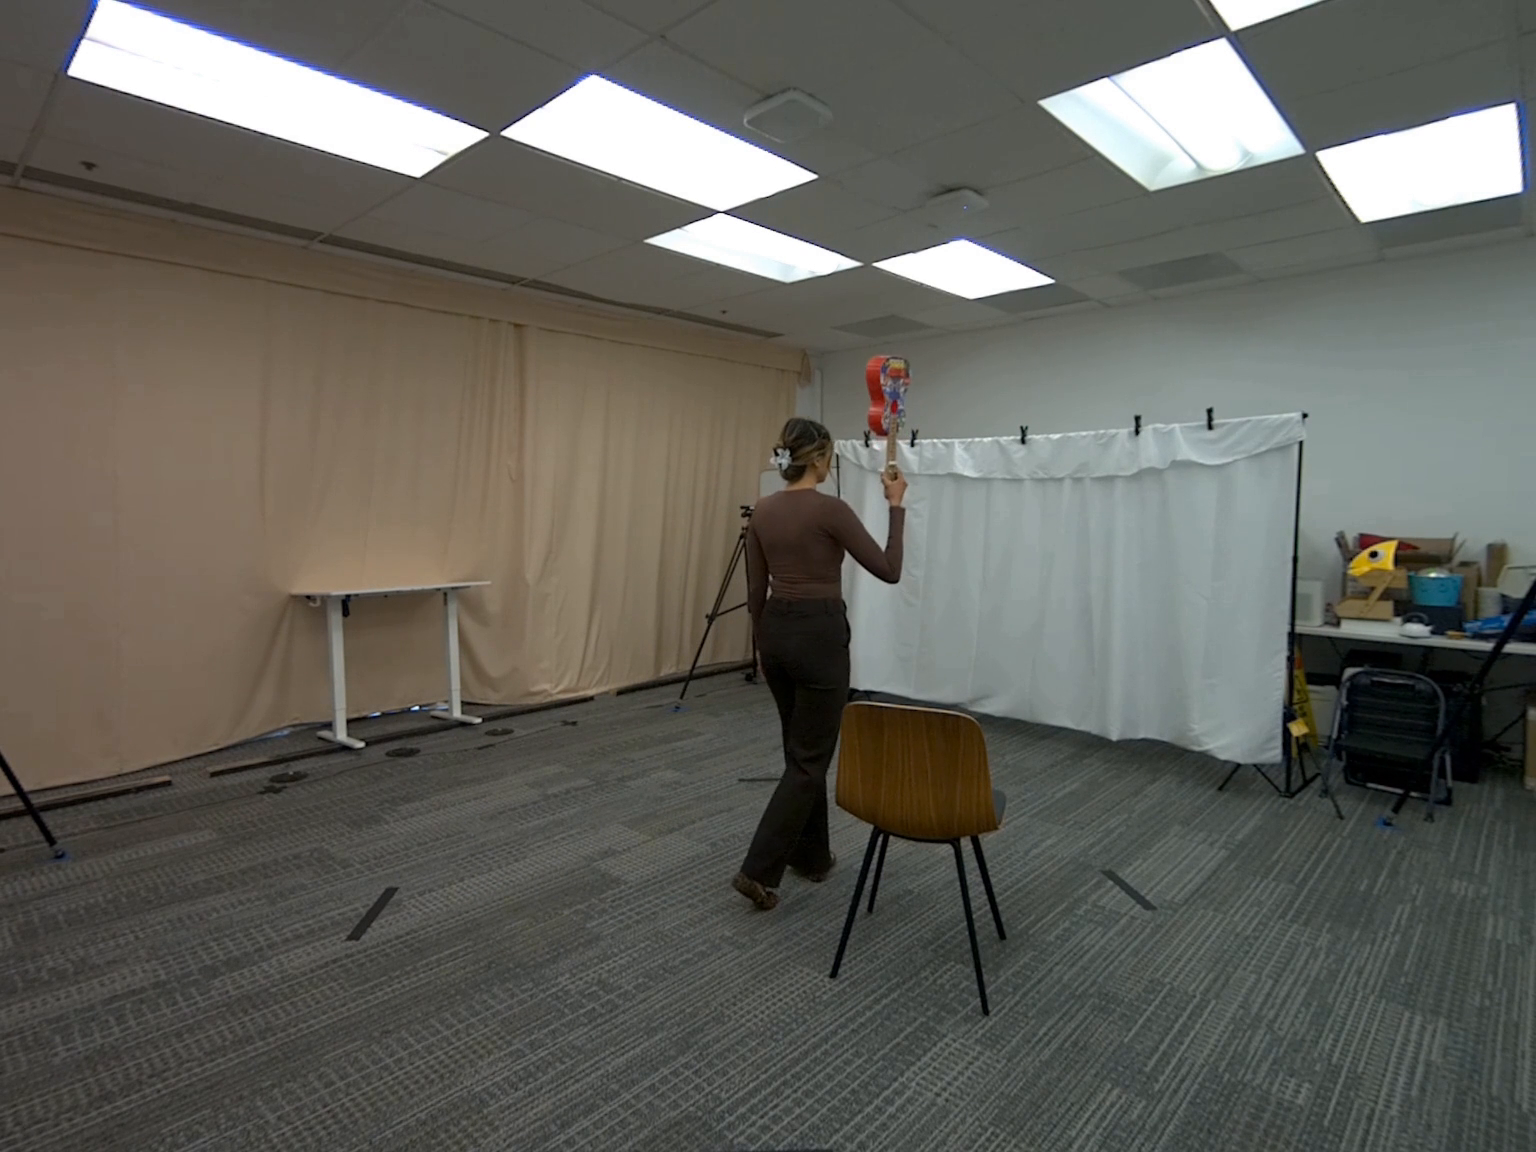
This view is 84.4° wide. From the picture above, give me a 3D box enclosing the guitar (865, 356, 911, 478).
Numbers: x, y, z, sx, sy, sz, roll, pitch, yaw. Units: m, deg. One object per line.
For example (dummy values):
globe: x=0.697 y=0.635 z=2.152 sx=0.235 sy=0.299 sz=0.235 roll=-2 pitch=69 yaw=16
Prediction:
guitar: x=0.413 y=-0.519 z=2.947 sx=0.073 sy=0.497 sz=0.187 roll=10 pitch=6 yaw=43
